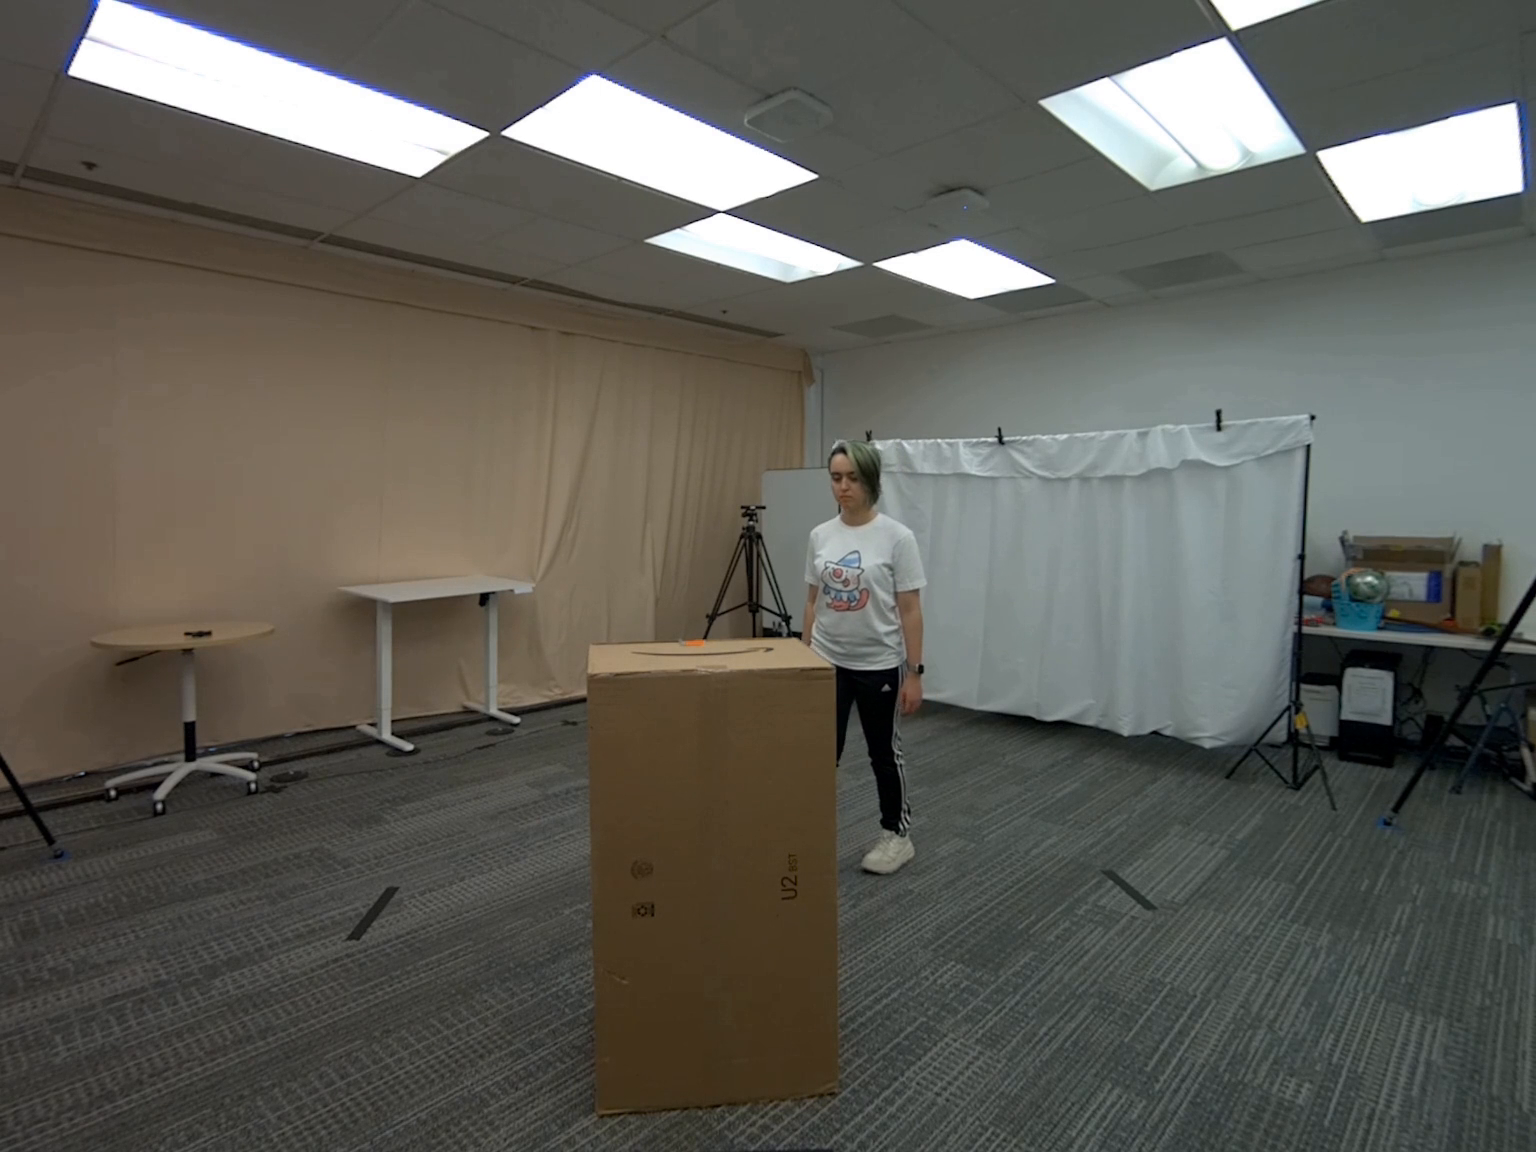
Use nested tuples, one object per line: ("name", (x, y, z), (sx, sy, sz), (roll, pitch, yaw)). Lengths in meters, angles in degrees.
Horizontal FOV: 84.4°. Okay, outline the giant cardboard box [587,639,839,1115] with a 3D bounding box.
("giant cardboard box", (-0.156, 0.710, 2.136), (0.578, 1.024, 0.452), (-1, 4, -9))
